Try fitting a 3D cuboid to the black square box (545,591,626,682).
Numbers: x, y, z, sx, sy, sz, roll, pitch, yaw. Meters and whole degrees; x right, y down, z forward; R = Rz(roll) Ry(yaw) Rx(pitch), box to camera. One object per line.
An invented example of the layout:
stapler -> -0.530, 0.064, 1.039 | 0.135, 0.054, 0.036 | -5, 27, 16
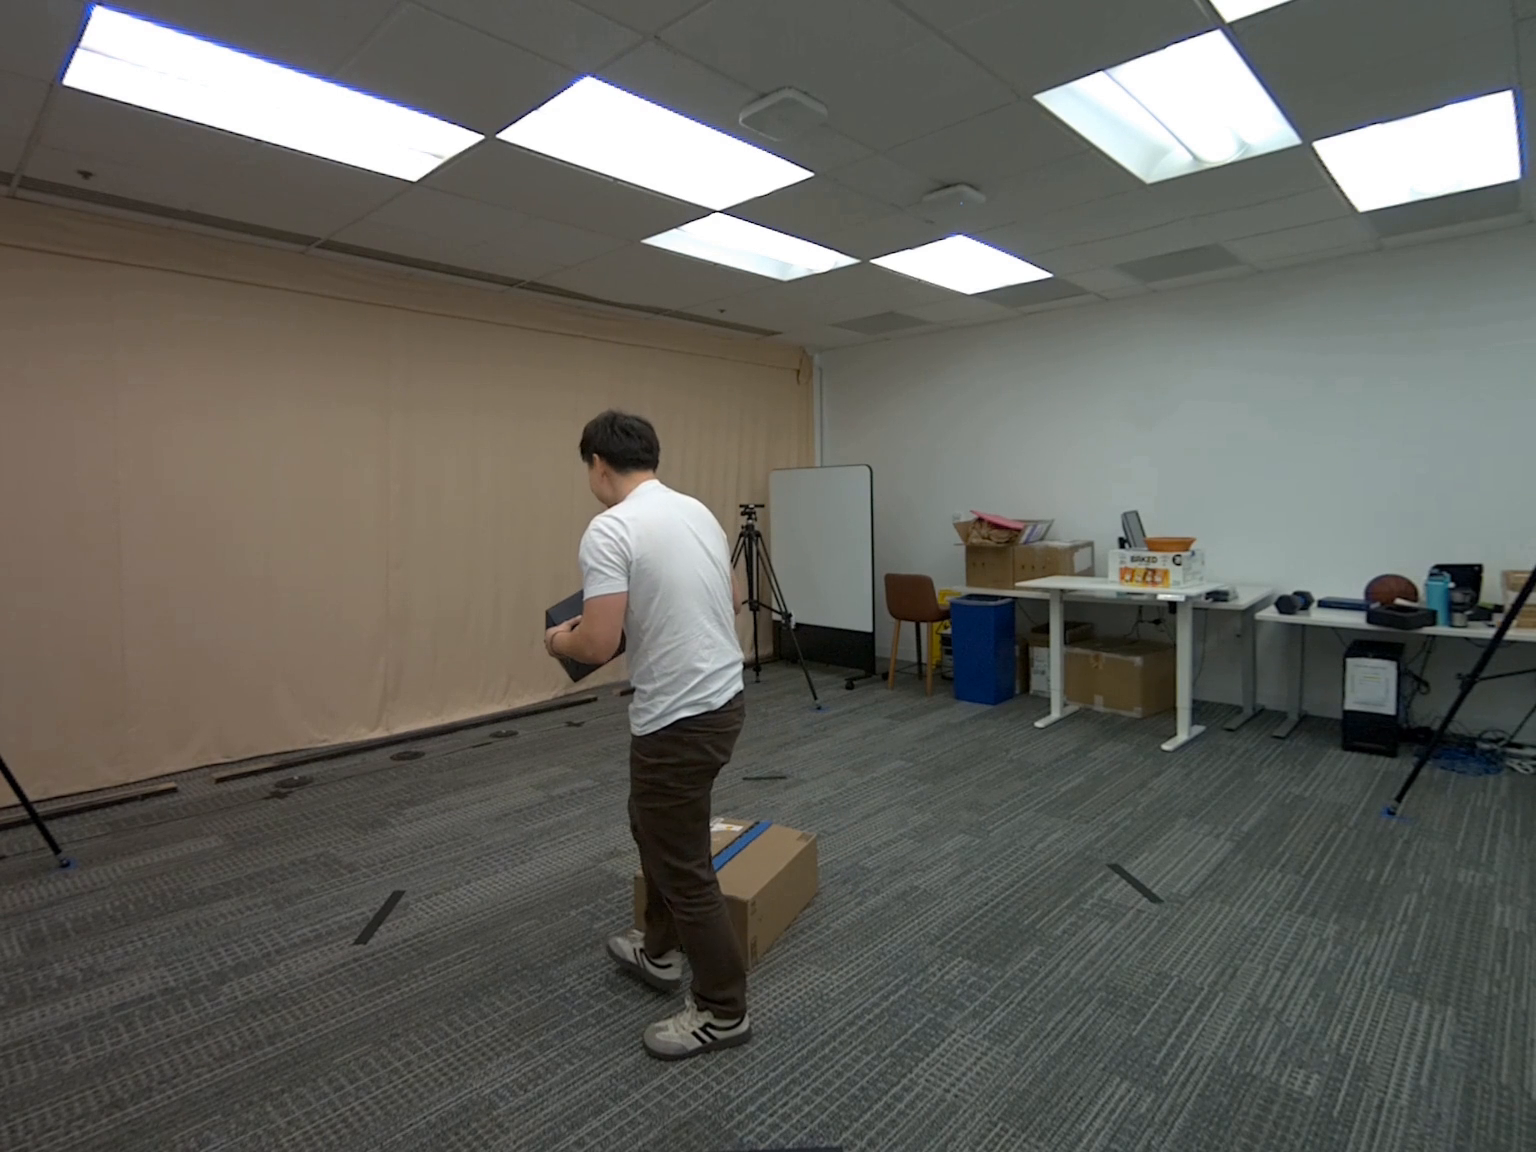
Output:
black square box -> -0.492, 0.143, 2.367 | 0.225, 0.159, 0.216 | -32, -17, -26
